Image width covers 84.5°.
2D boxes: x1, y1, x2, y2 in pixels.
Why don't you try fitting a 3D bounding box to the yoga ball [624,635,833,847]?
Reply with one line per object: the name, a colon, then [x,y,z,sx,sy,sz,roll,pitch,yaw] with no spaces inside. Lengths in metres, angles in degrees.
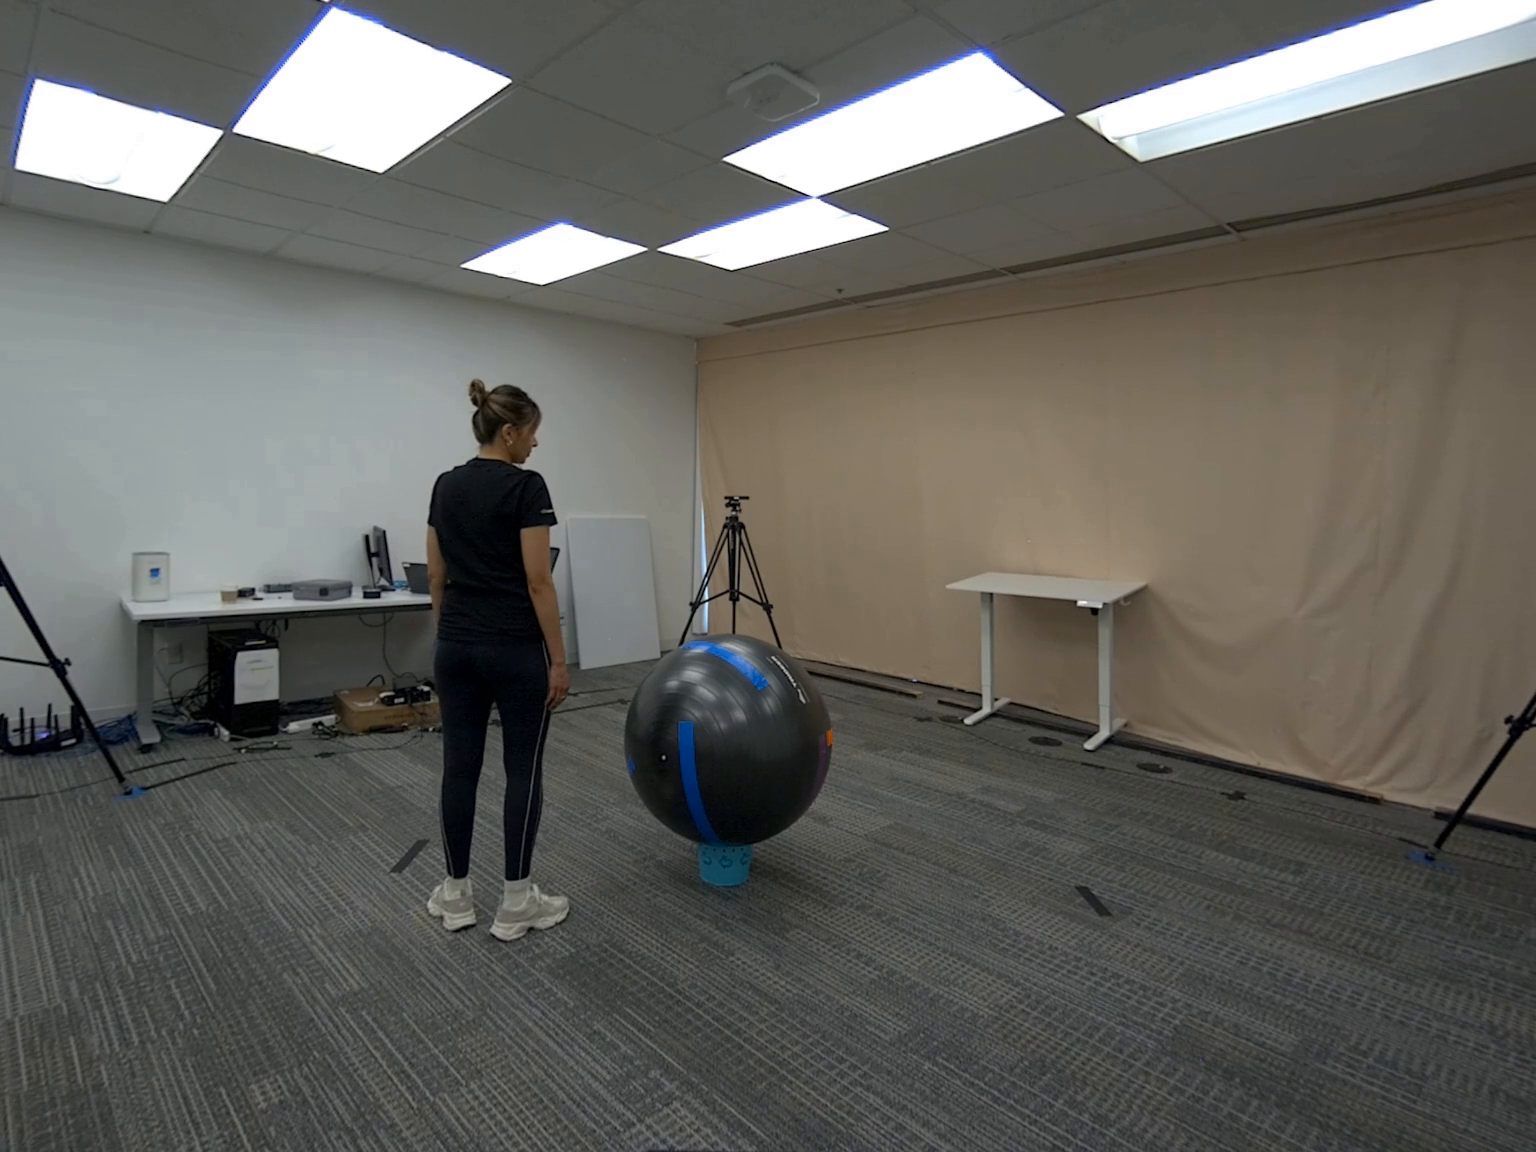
yoga ball: [-0.152,0.592,3.079,0.757,0.756,0.761,1,4,-1]
